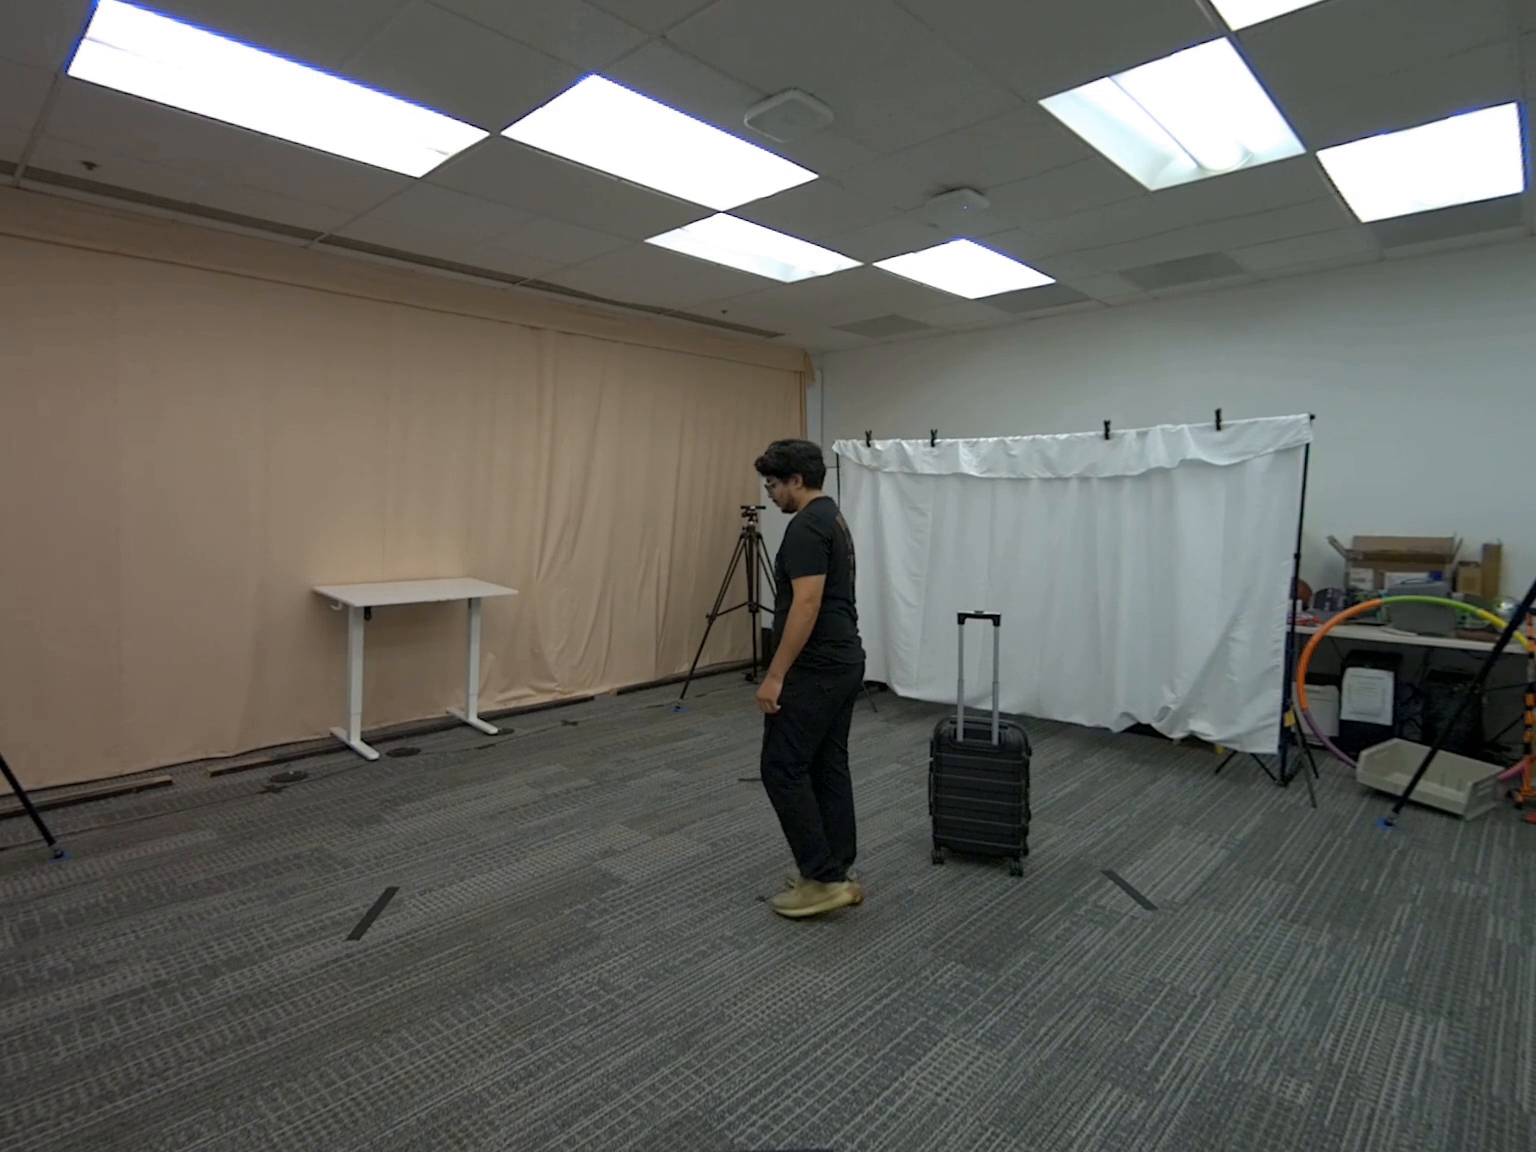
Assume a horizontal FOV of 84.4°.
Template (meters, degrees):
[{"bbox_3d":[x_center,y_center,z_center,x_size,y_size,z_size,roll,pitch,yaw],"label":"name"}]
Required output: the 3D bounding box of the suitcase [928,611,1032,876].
[{"bbox_3d":[0.843,0.637,3.334,0.392,0.979,0.251,1,0,20],"label":"suitcase"}]
